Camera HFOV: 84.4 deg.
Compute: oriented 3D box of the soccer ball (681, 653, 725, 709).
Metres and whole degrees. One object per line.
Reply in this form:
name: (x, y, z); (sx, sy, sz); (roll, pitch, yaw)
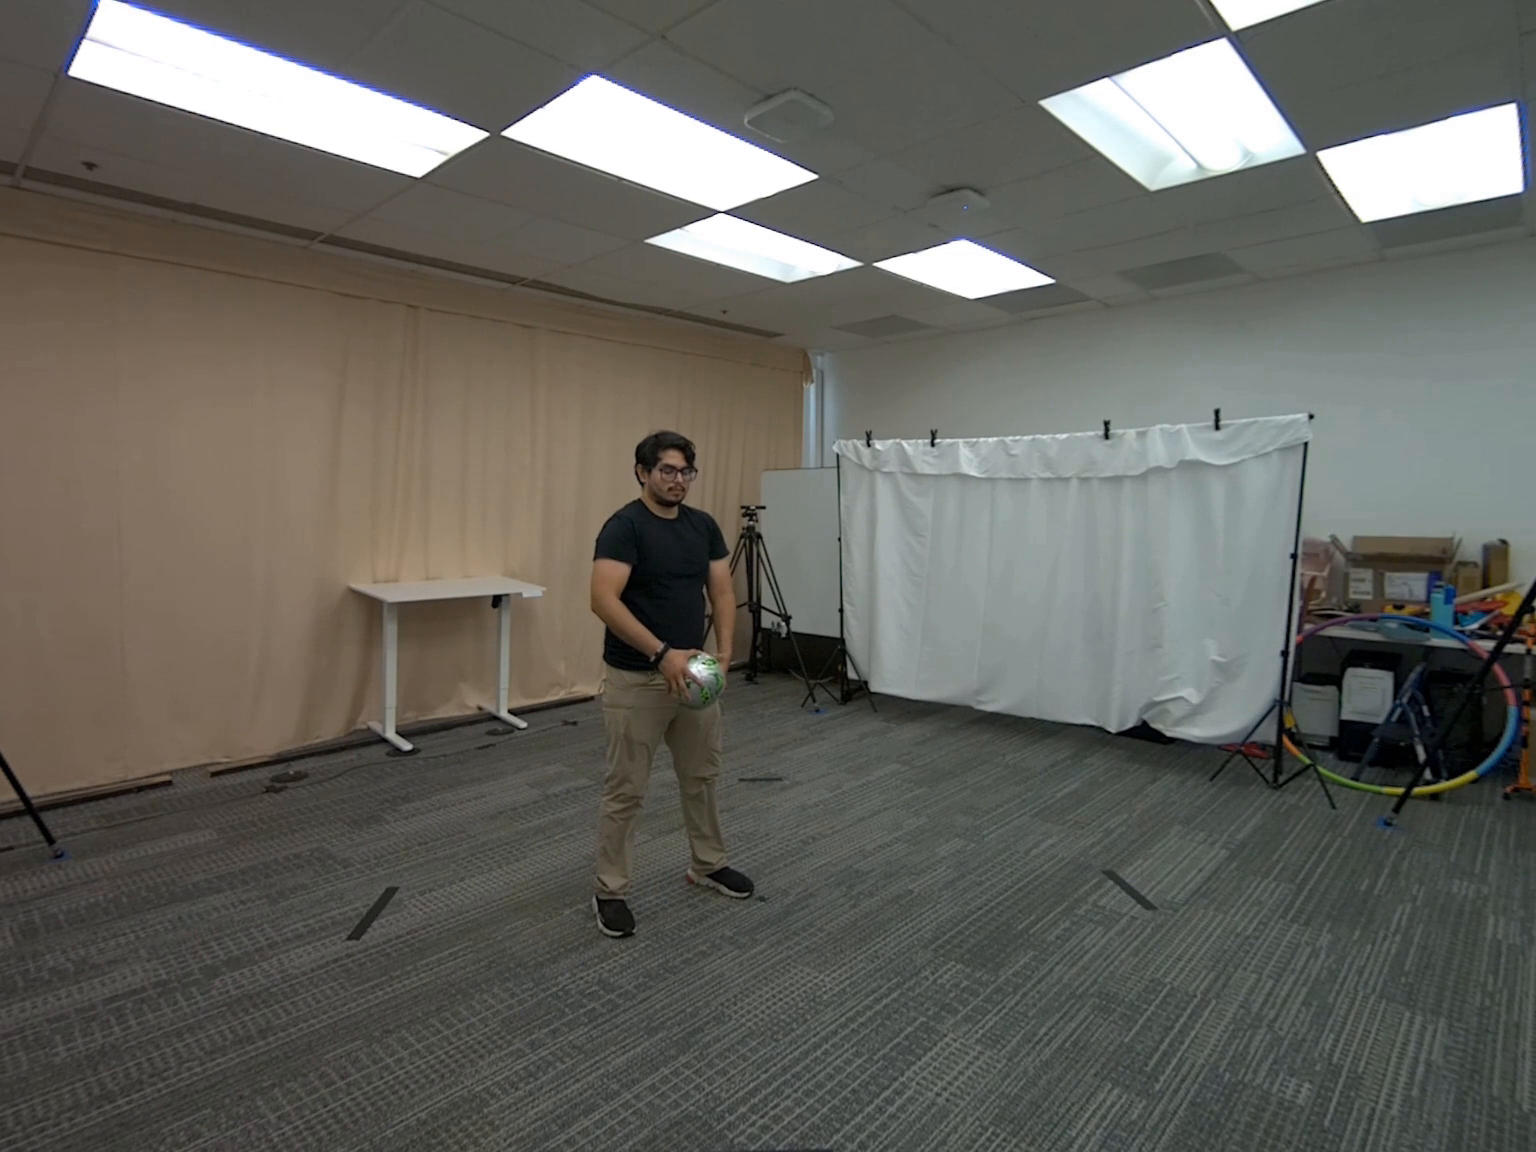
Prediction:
soccer ball: (-0.240, 0.326, 2.659); (0.187, 0.187, 0.188); (0, 4, -2)
